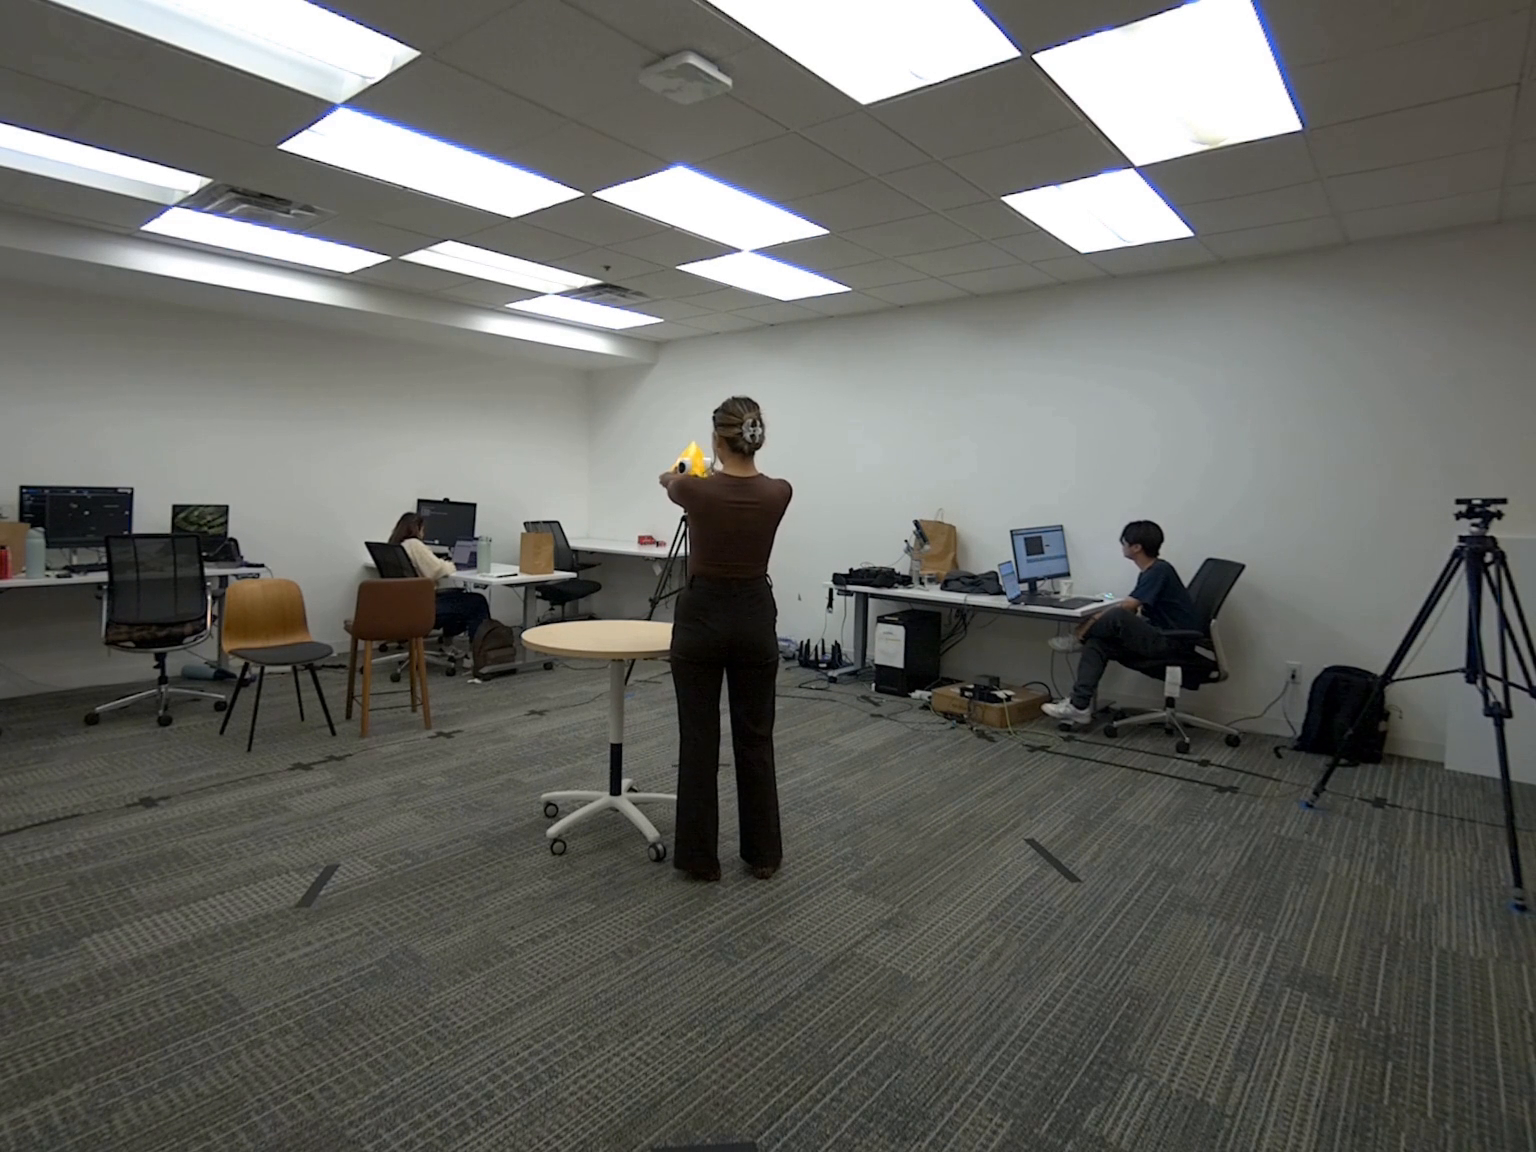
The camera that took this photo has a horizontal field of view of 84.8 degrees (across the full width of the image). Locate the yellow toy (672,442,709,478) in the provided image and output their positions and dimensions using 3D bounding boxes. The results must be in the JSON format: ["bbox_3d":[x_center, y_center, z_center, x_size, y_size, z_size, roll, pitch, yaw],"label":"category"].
[{"bbox_3d":[-0.297,-0.445,3.532,0.201,0.228,0.199,-3,14,-18],"label":"yellow toy"}]
